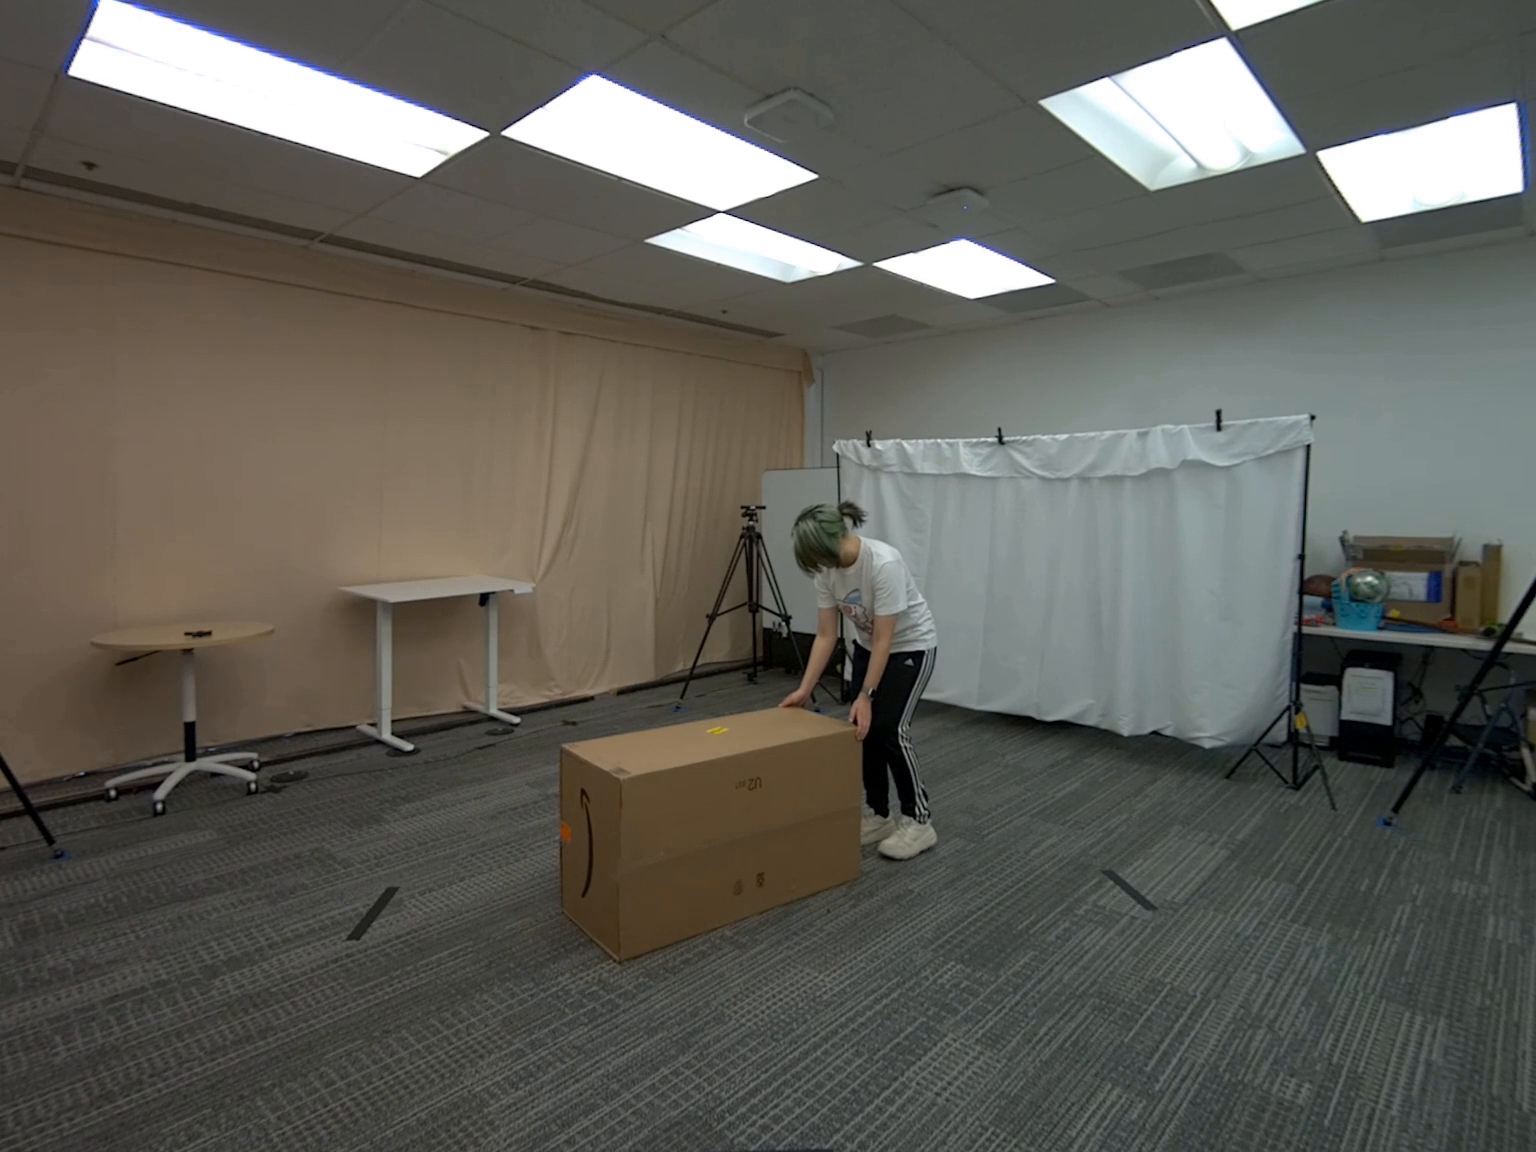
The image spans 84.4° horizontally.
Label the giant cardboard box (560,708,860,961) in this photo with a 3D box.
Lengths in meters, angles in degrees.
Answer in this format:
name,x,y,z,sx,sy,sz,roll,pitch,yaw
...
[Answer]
name,x,y,z,sx,sy,sz,roll,pitch,yaw
giant cardboard box,-0.185,0.857,3.006,0.997,0.583,0.461,-3,4,-37
